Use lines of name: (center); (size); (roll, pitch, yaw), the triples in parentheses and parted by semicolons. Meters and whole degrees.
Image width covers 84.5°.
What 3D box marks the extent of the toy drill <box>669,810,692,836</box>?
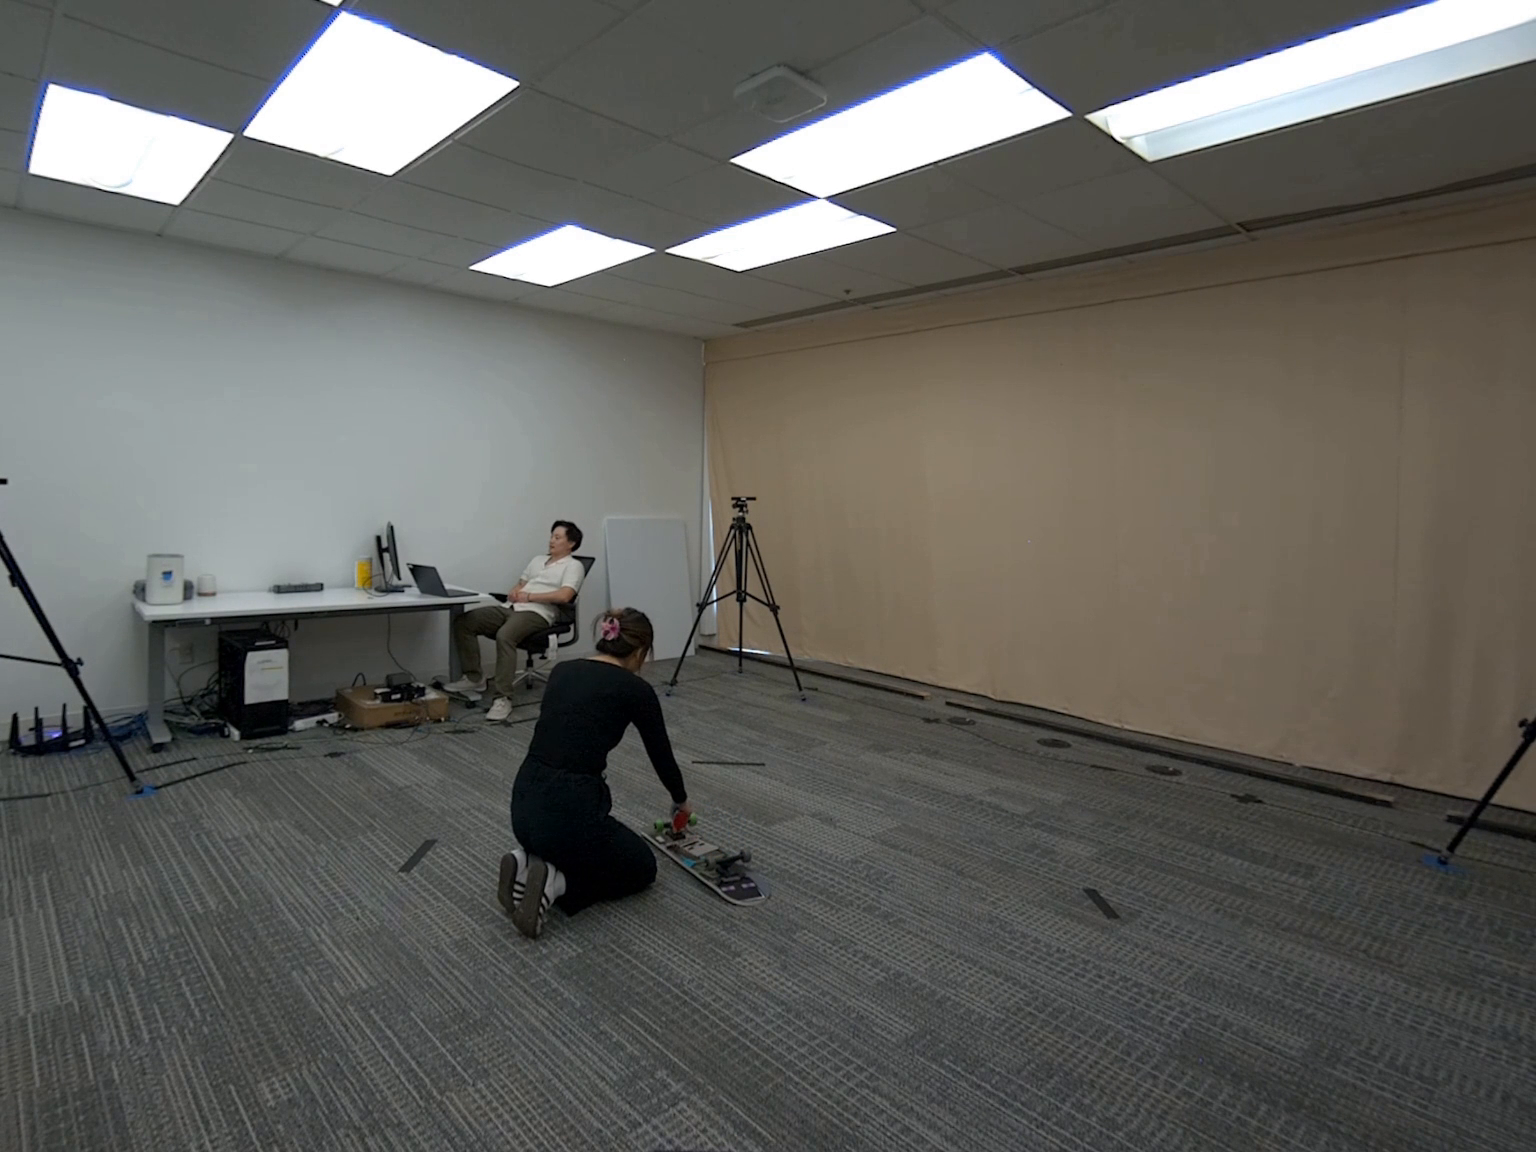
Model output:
toy drill: (-0.359, 0.954, 3.279); (0.061, 0.168, 0.148); (9, 13, -9)
